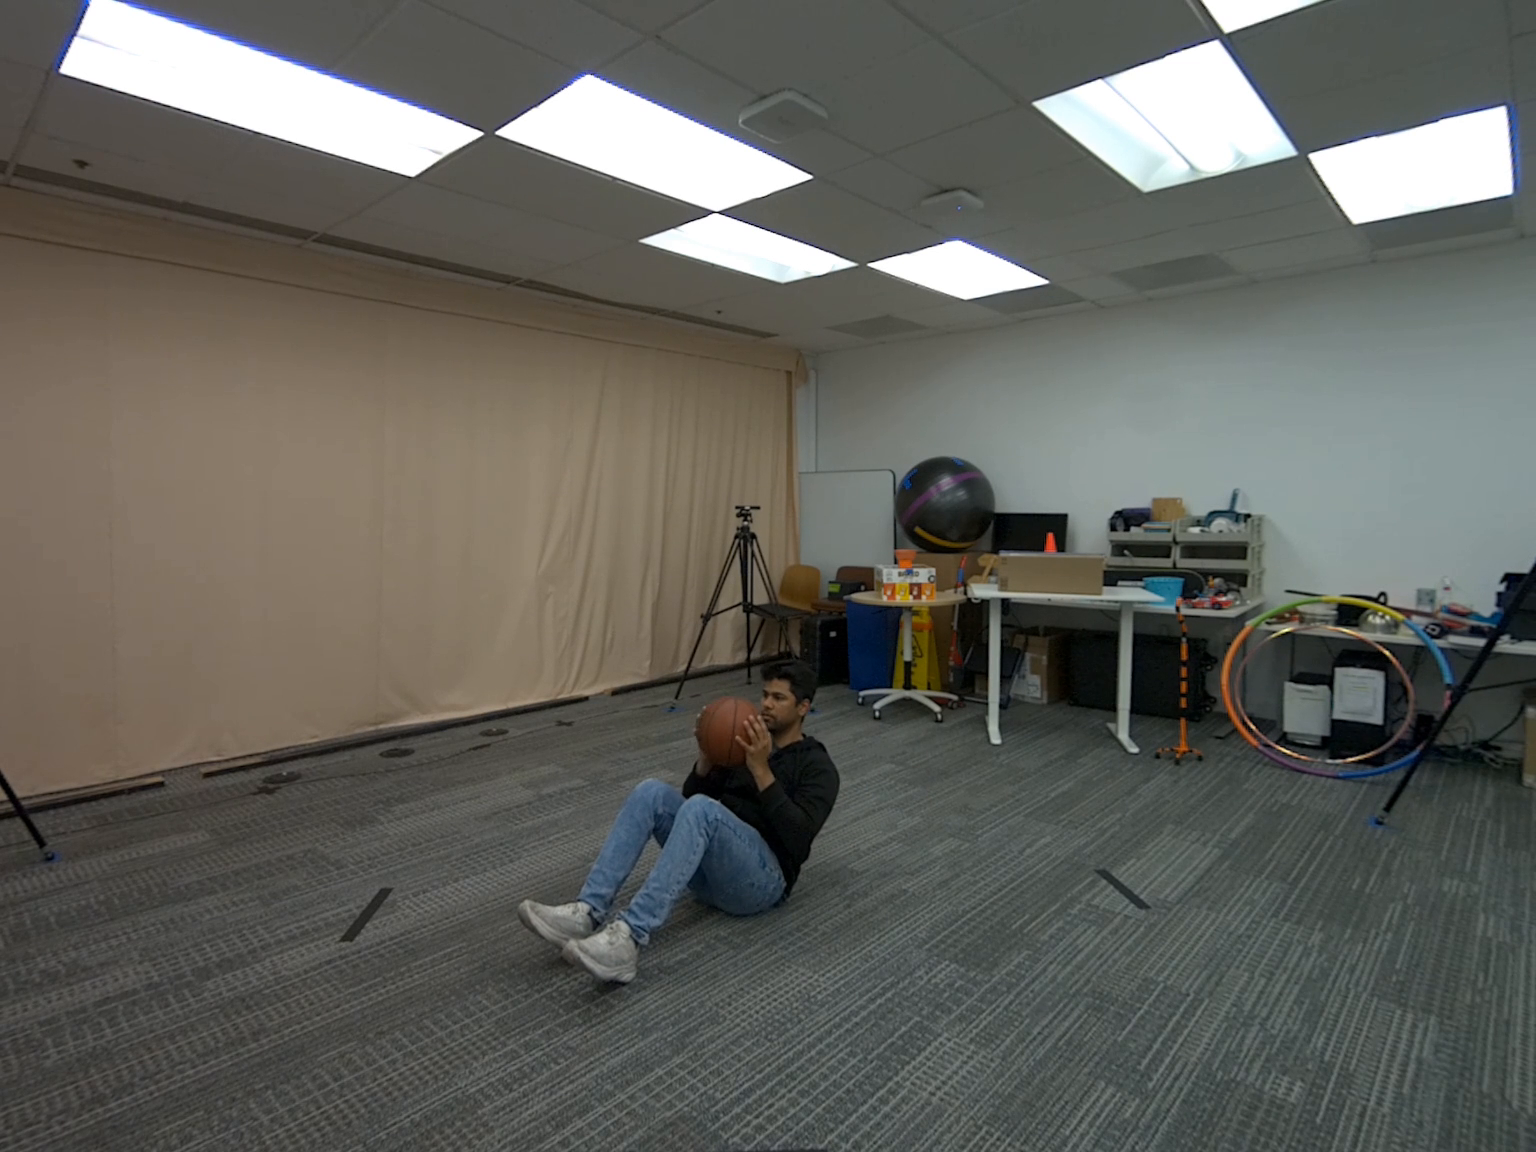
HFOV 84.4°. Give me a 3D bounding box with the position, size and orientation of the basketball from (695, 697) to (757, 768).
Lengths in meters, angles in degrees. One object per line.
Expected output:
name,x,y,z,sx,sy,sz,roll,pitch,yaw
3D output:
basketball,-0.115,0.535,2.910,0.236,0.235,0.237,0,4,-2
